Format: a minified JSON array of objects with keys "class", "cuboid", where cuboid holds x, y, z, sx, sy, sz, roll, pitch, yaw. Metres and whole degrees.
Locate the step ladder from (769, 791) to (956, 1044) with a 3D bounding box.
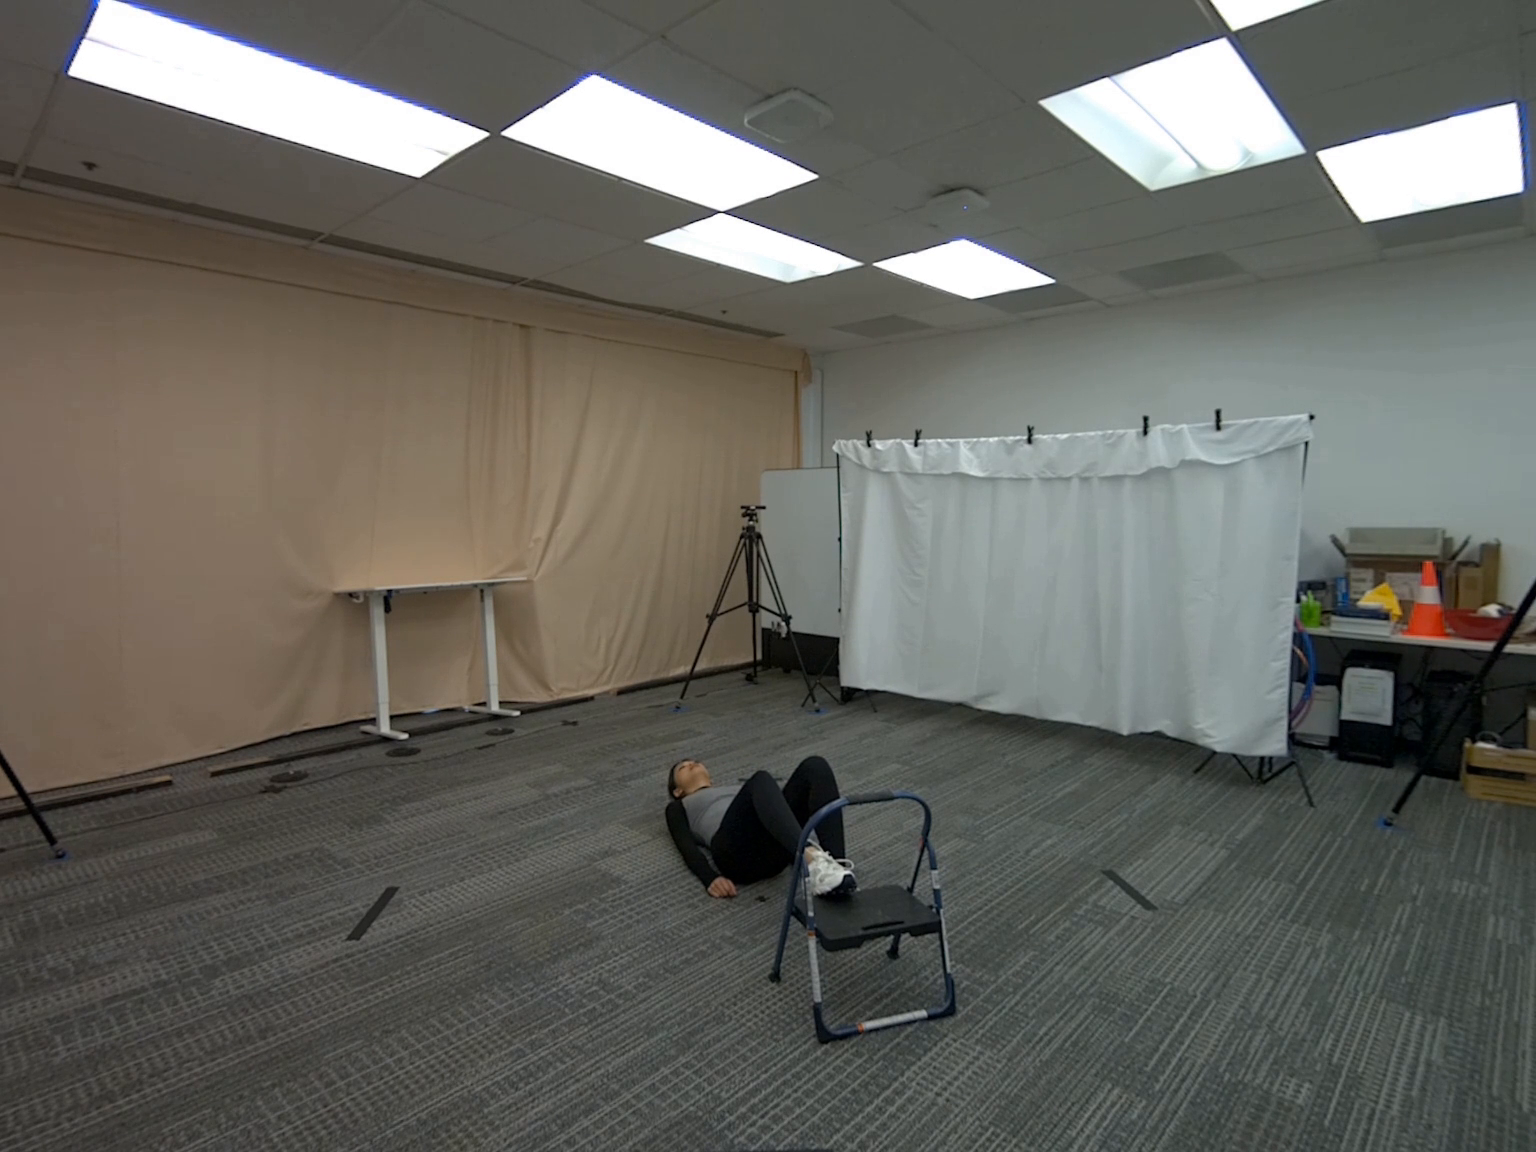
[{"class":"step ladder","cuboid":[0.271,0.894,2.383,0.422,0.605,0.357,-1,3,-21]}]
